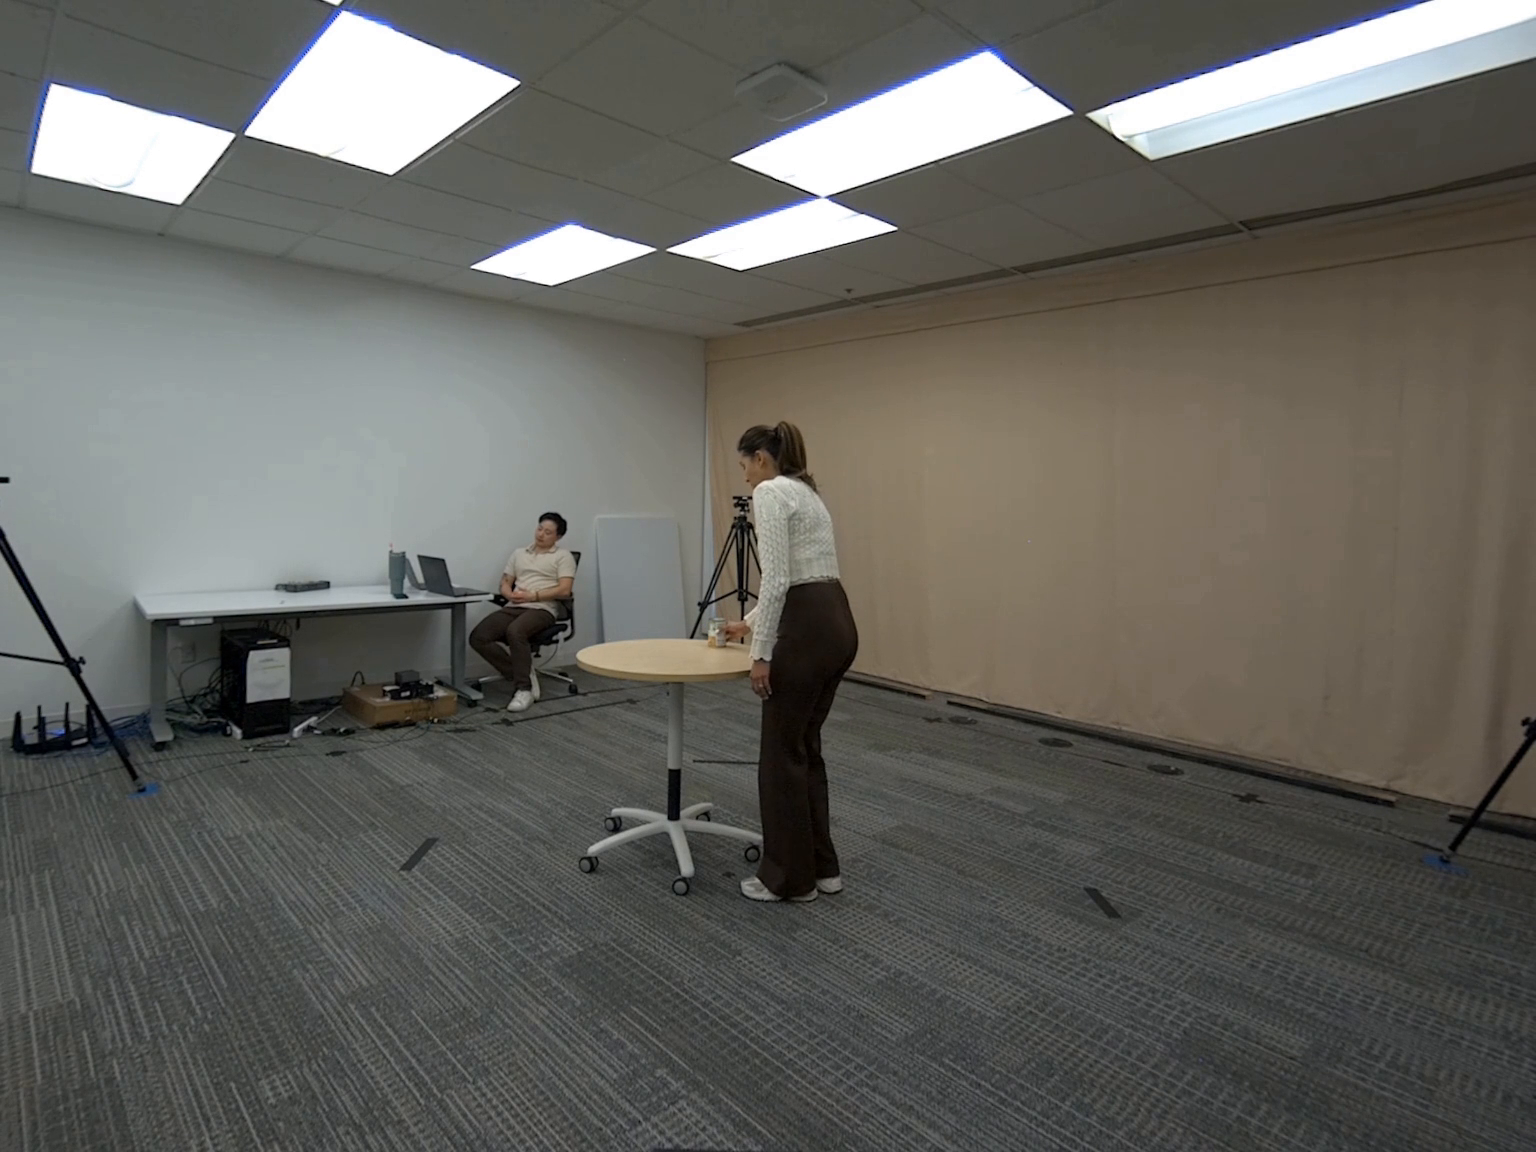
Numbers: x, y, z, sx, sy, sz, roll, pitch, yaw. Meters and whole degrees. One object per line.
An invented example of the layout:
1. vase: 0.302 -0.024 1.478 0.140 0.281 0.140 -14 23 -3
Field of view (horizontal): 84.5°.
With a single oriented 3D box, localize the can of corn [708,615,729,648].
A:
1. can of corn: -0.209 0.234 3.448 0.074 0.111 0.074 5 2 -2
